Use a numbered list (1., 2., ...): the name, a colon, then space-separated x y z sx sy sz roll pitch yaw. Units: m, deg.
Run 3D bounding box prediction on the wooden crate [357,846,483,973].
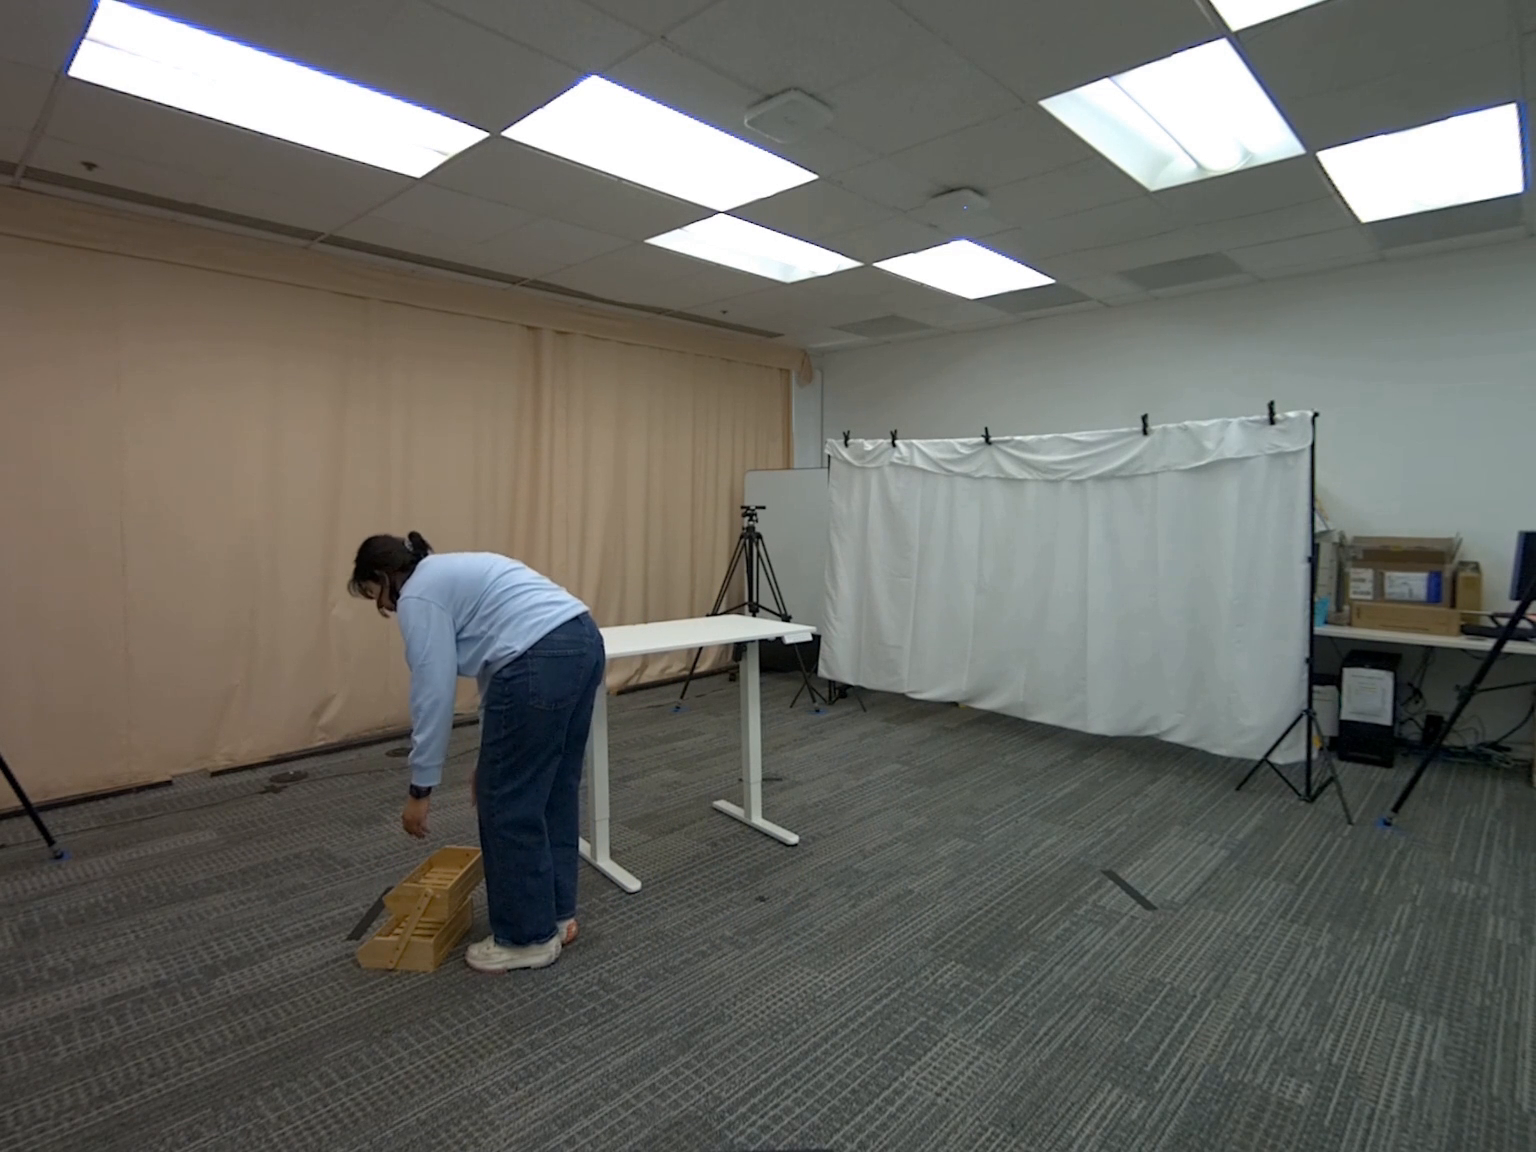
1. wooden crate: -1.098 1.048 2.682 0.304 0.273 0.323 1 3 4
